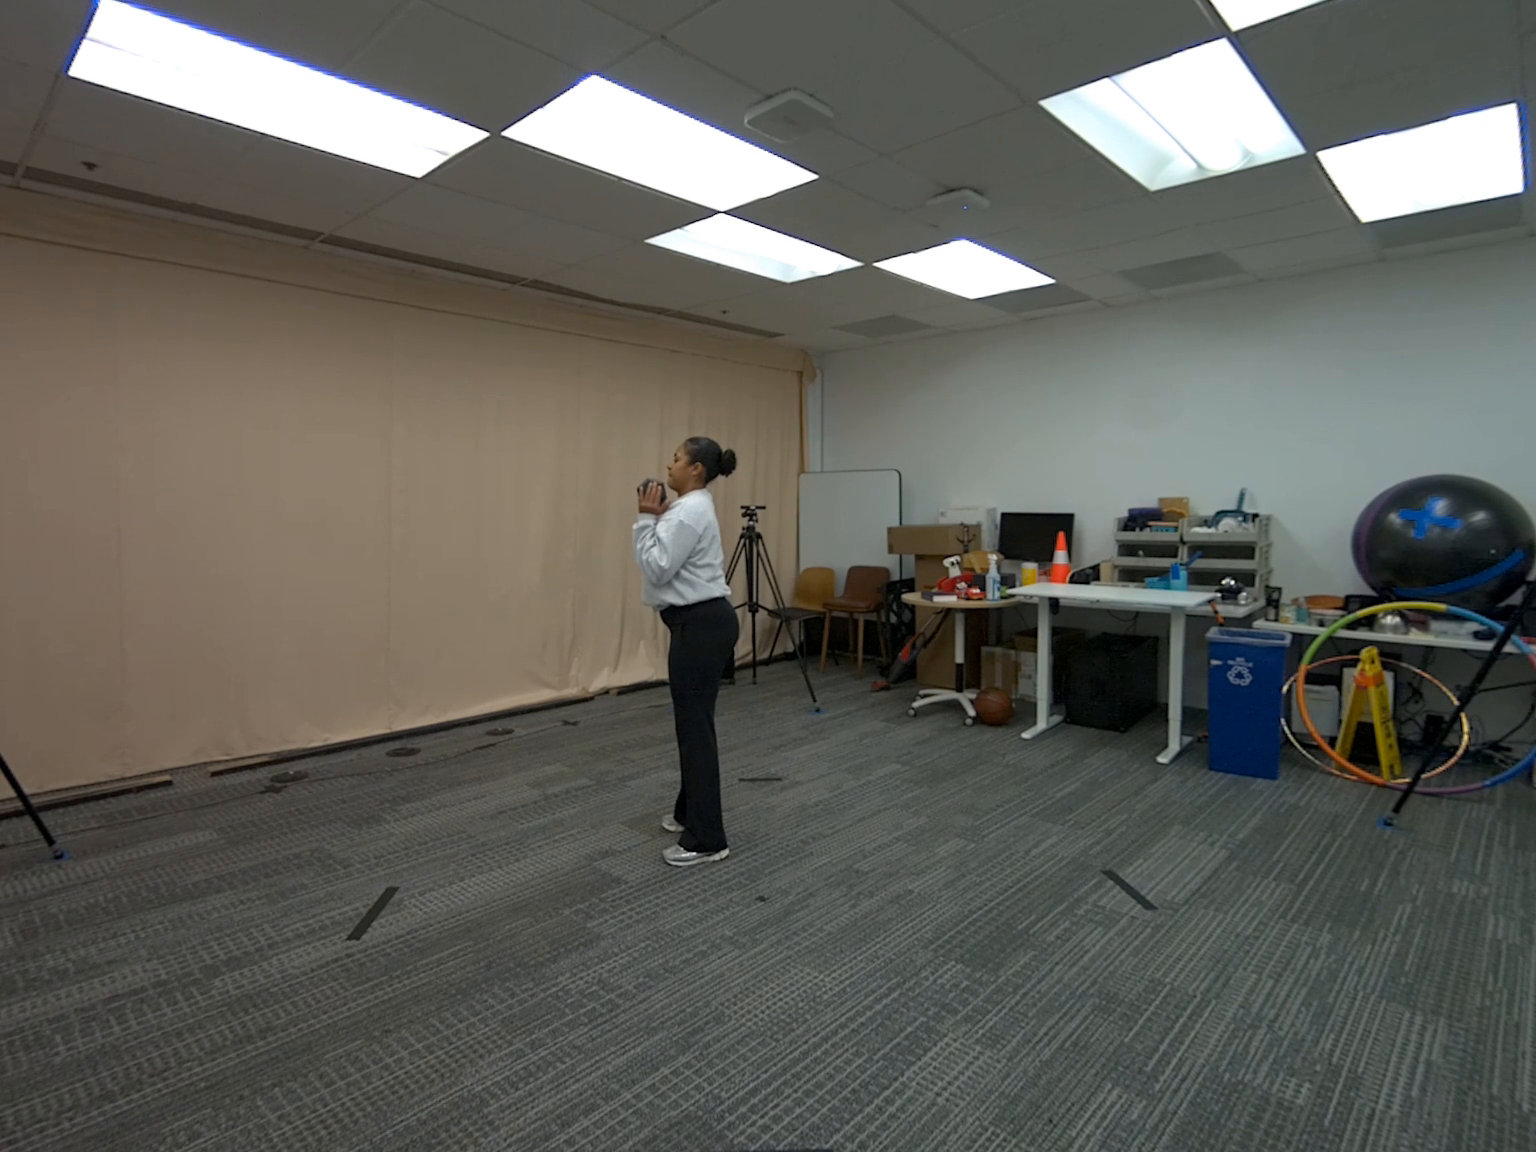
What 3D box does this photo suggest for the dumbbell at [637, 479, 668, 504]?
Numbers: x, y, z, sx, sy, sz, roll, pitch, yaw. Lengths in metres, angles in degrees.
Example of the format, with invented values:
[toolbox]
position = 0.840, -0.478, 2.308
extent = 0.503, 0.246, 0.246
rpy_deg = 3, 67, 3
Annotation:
[dumbbell]
position = -0.461, -0.325, 3.406
extent = 0.123, 0.108, 0.295
rpy_deg = -40, 5, -3
